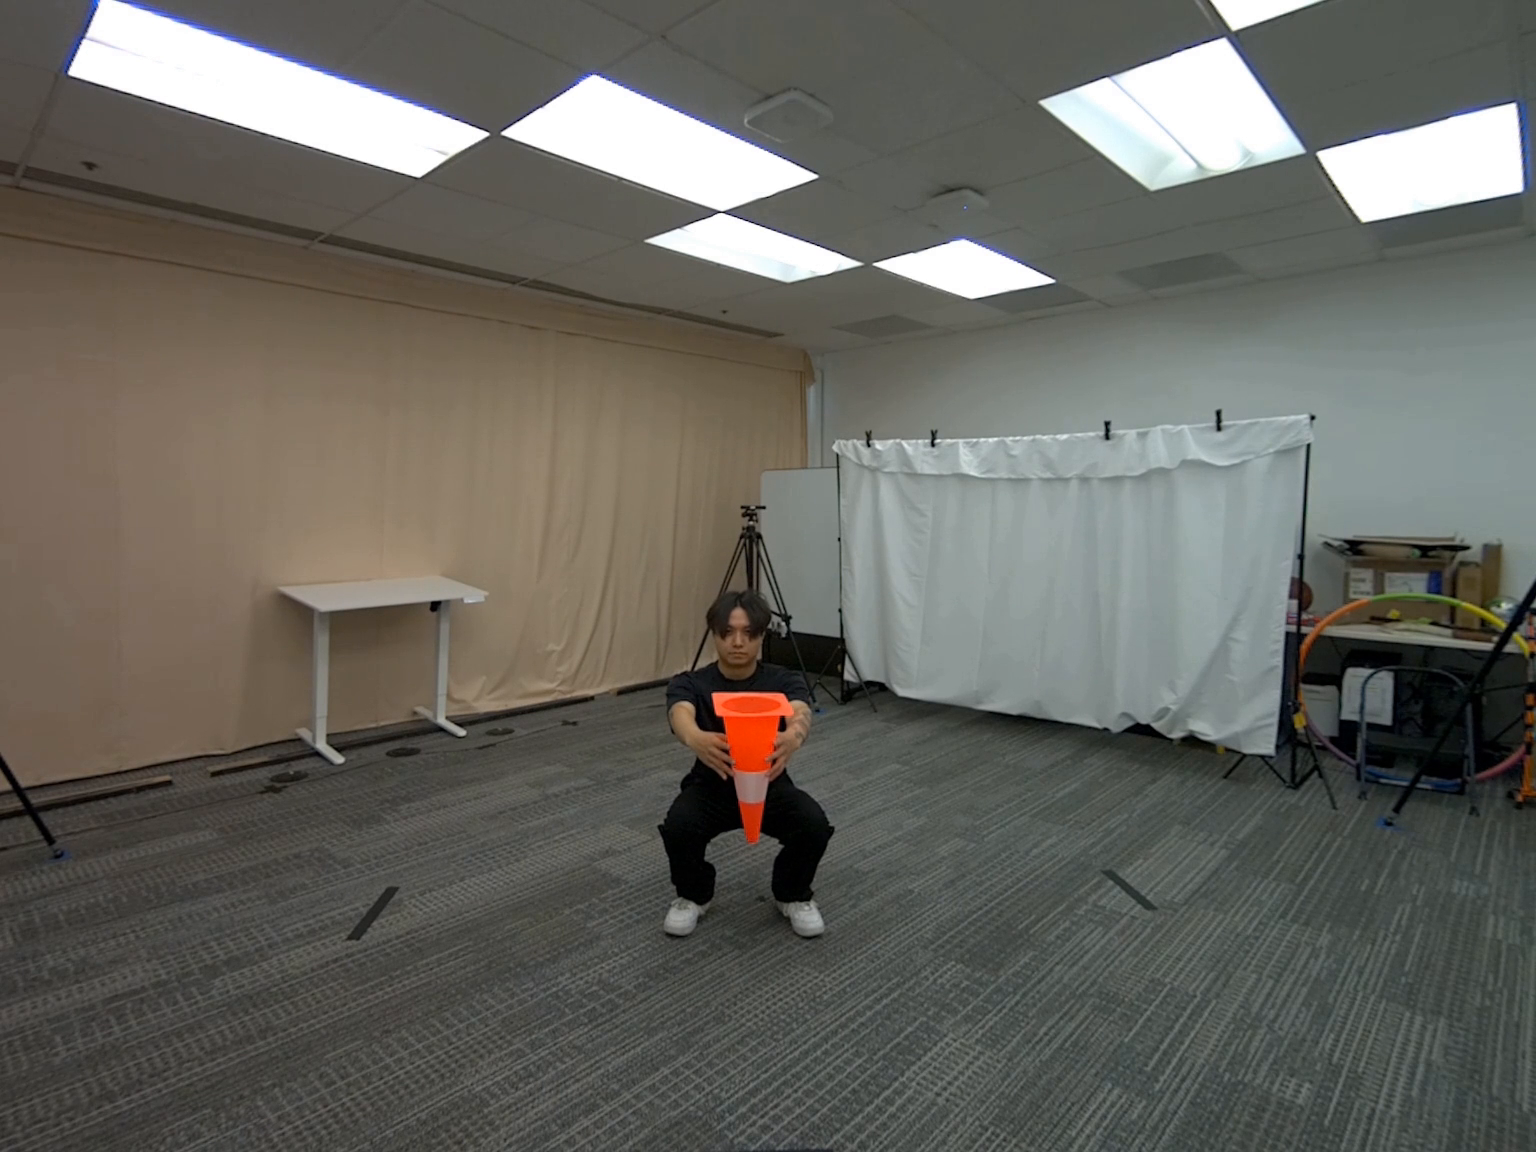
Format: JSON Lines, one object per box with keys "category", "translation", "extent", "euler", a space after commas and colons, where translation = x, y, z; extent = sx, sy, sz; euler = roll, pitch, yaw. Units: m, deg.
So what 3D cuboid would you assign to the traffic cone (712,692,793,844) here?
{"category": "traffic cone", "translation": [-0.045, 0.526, 2.226], "extent": [0.203, 0.382, 0.206], "euler": [1, 7, -7]}
